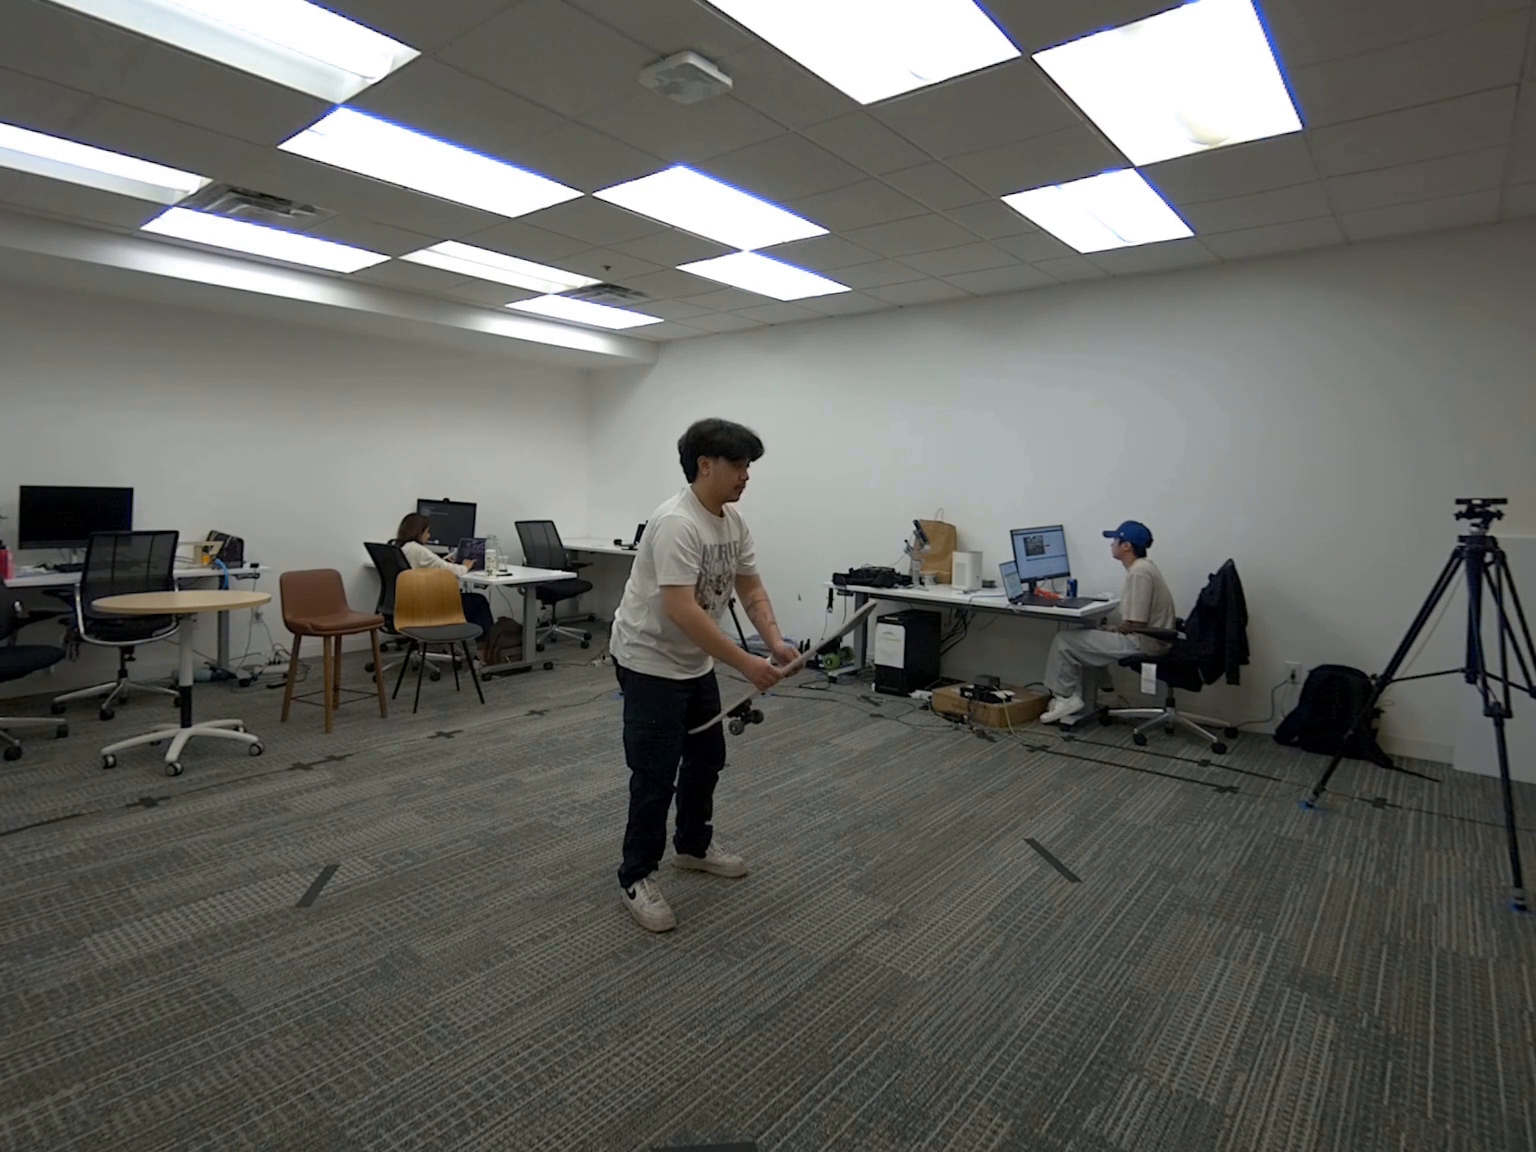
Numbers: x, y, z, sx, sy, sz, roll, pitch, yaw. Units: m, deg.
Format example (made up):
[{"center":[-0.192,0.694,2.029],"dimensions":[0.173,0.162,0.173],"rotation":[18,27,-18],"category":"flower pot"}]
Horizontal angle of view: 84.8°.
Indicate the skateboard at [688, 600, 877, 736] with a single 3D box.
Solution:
[{"center":[0.045,0.349,2.706],"dimensions":[0.789,0.112,0.189],"rotation":[-37,-11,22],"category":"skateboard"}]
